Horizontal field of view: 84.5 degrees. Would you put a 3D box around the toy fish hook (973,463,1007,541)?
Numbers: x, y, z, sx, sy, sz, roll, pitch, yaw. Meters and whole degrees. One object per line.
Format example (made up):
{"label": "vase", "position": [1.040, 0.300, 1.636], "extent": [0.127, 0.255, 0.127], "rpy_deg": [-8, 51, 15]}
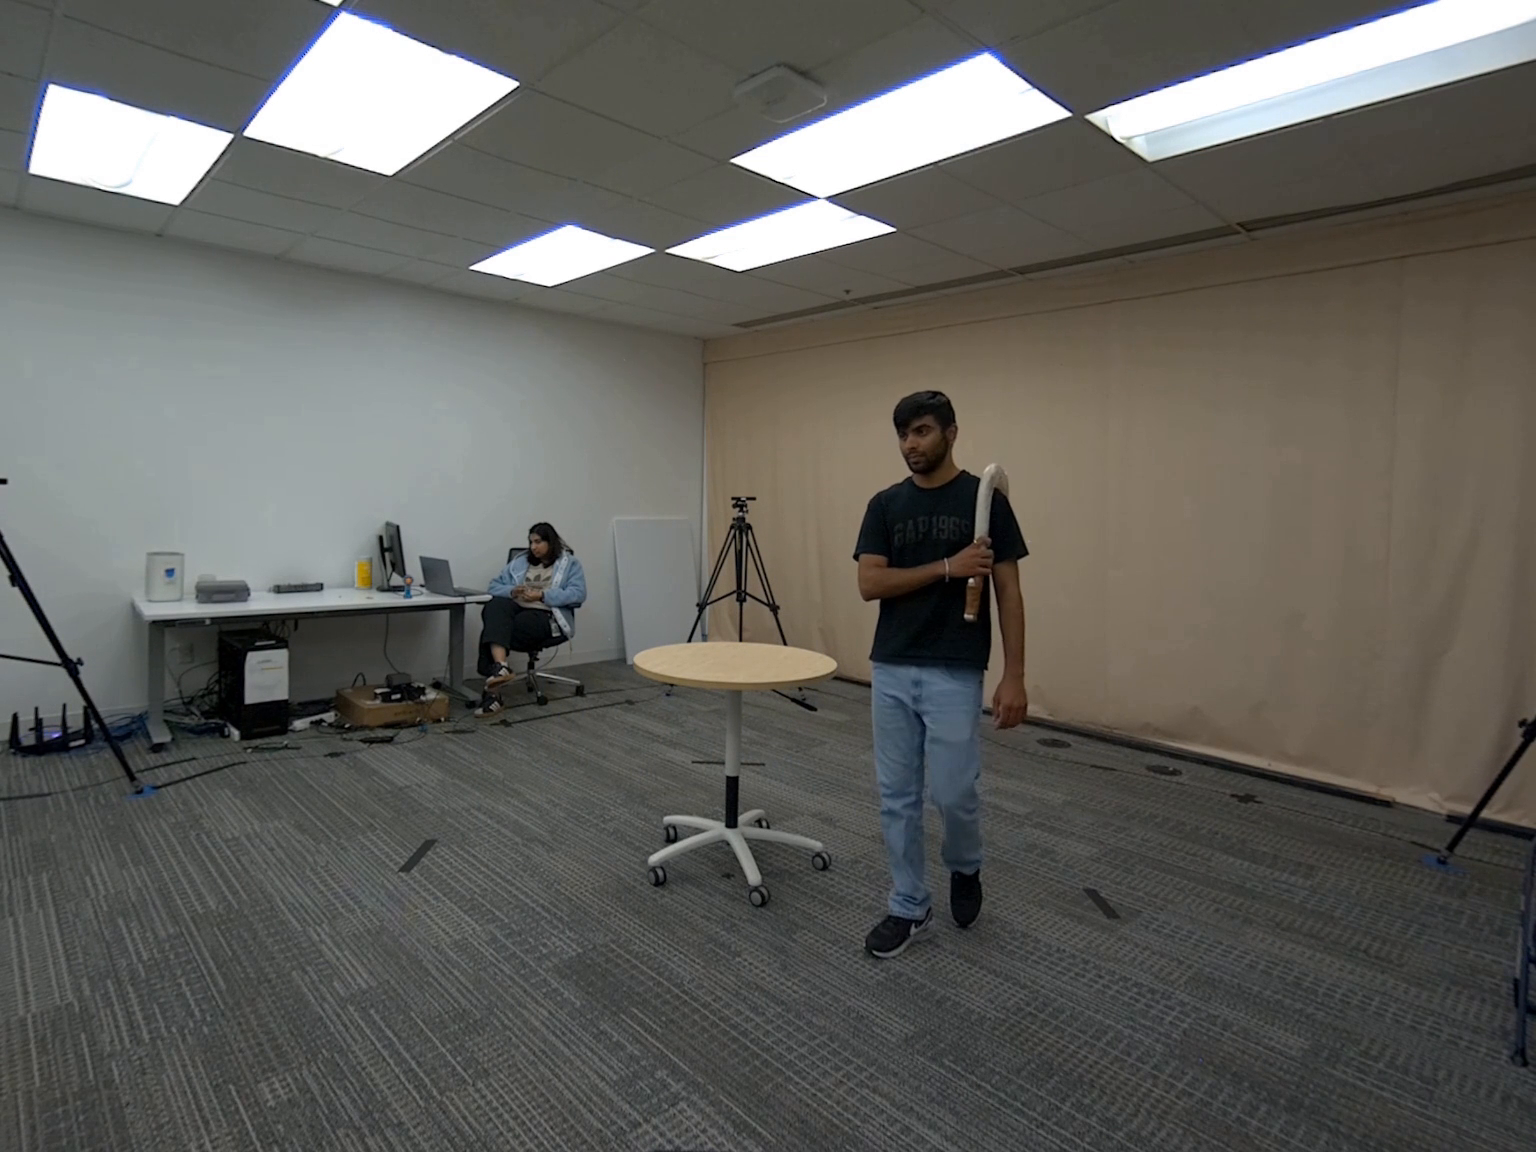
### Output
{"label": "toy fish hook", "position": [0.665, -0.095, 2.561], "extent": [0.049, 0.510, 0.218], "rpy_deg": [0, -17, 39]}
